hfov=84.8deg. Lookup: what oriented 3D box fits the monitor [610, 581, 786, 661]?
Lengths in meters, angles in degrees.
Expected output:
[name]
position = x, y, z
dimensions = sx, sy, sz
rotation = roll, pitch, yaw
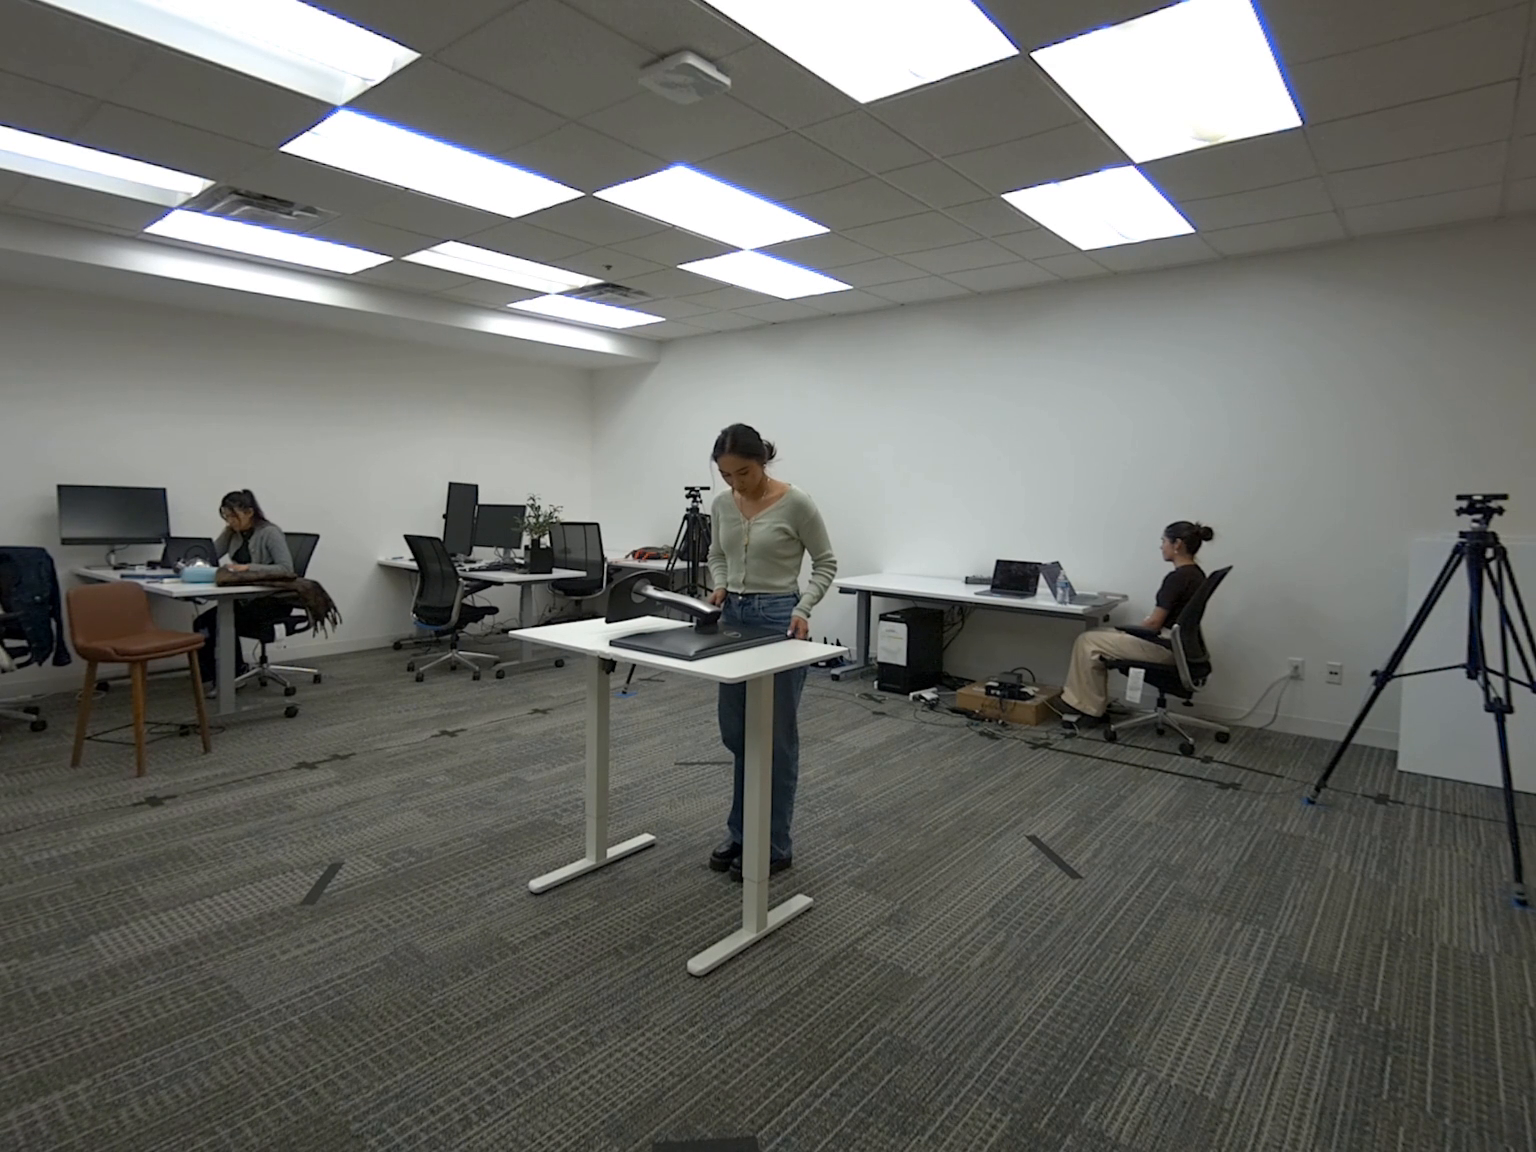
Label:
[monitor]
position = -0.281, 0.149, 2.849
dimensions = 0.543, 0.185, 0.524
rotation = 22, 20, 36
